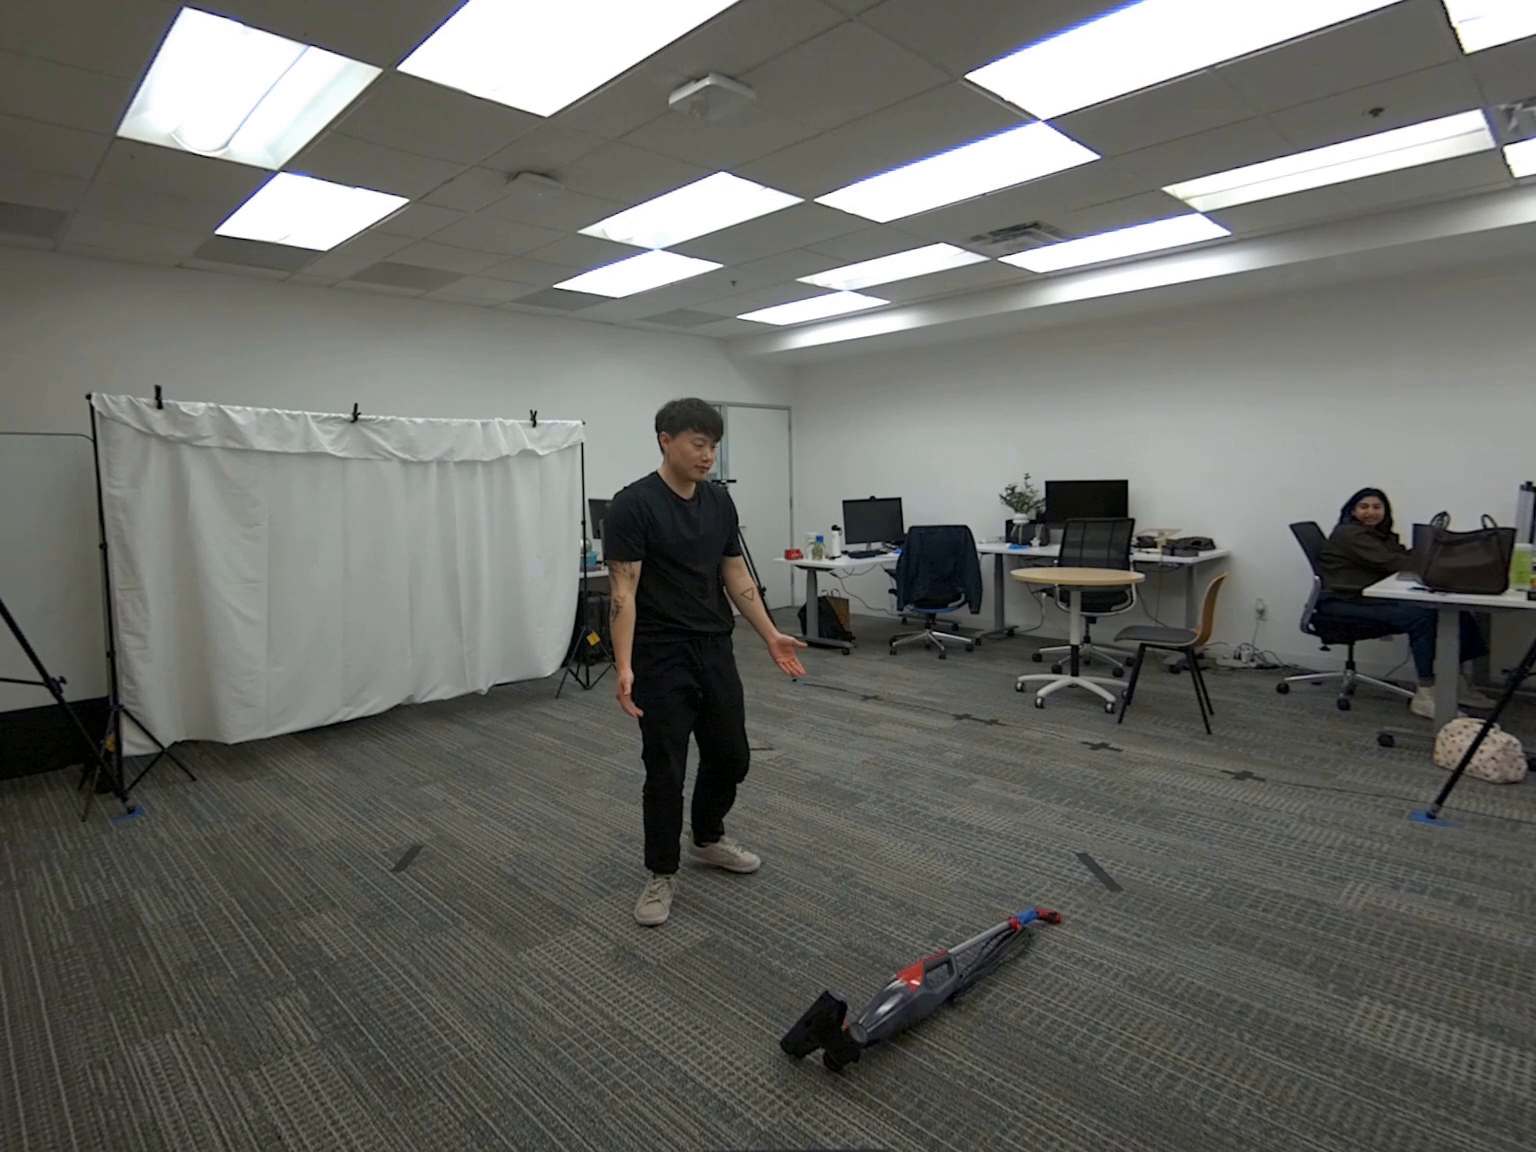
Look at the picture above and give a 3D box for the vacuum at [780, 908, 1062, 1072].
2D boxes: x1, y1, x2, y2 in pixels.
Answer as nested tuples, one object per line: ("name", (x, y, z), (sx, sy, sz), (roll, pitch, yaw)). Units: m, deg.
("vacuum", (0.521, 1.074, 2.333), (1.019, 0.250, 0.149), (-1, 41, -41))
